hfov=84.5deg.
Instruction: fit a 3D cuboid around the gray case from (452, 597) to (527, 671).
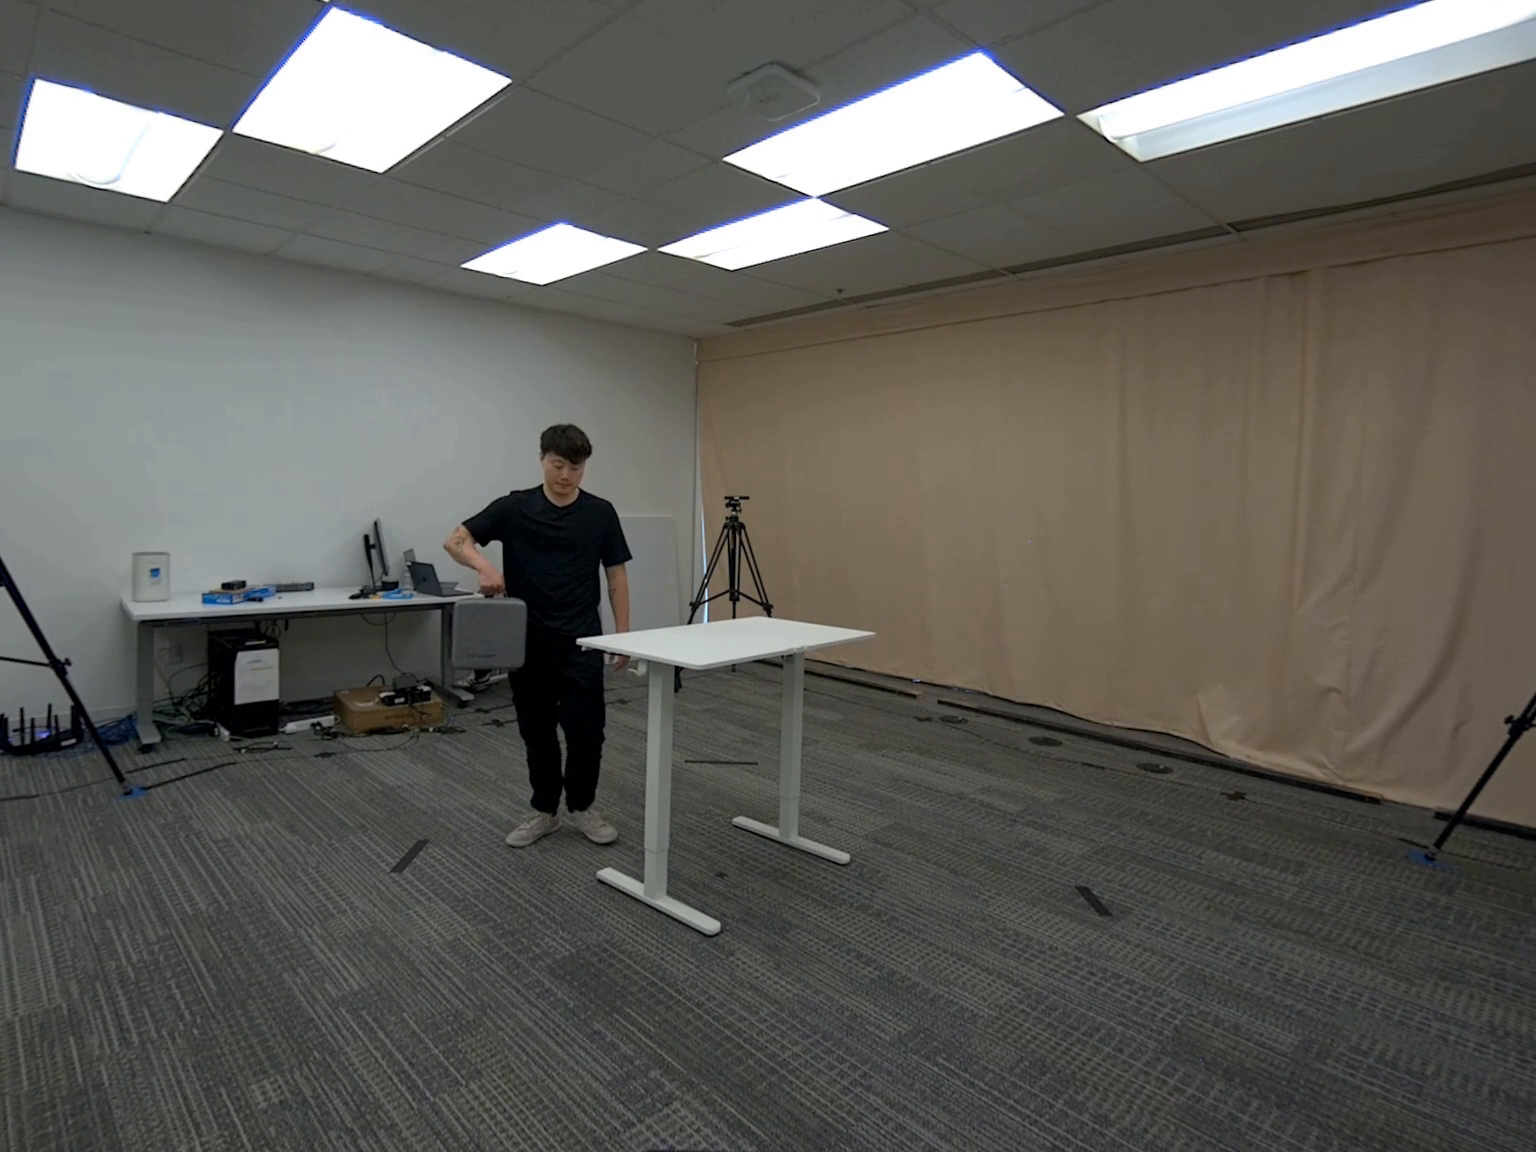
[{"bbox_3d":[-1.029,0.201,3.057,0.252,0.260,0.106,4,2,-23],"label":"gray case"}]
